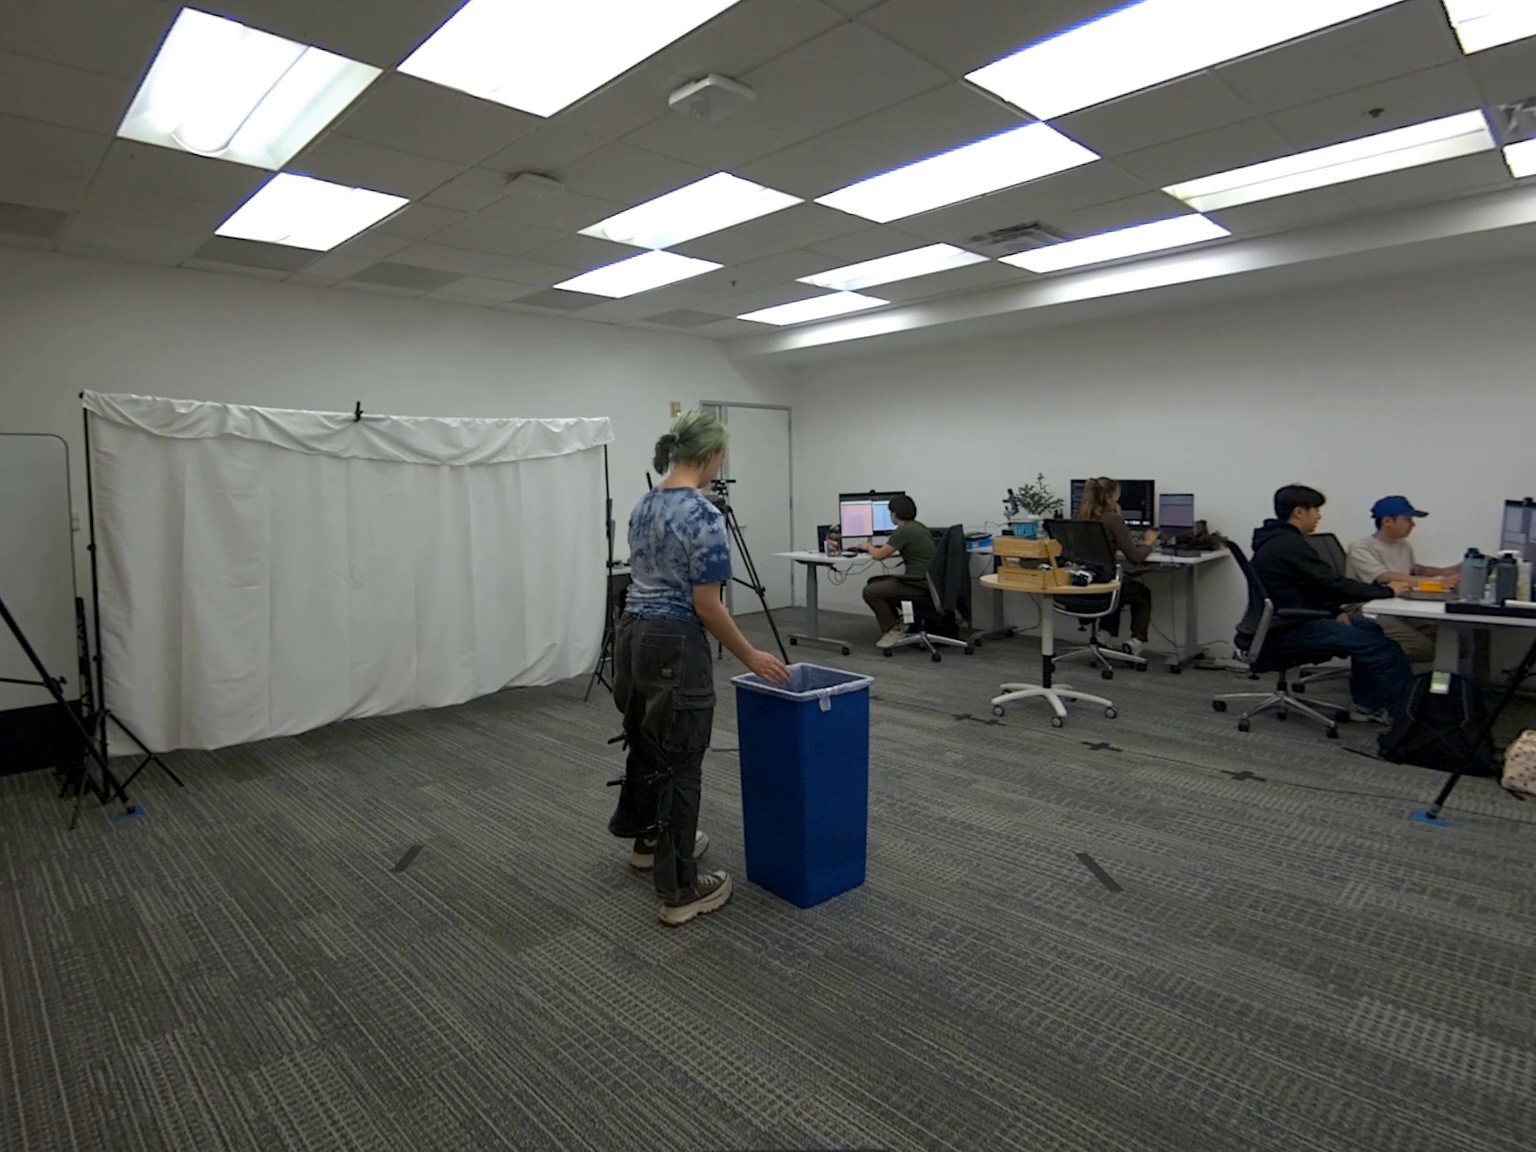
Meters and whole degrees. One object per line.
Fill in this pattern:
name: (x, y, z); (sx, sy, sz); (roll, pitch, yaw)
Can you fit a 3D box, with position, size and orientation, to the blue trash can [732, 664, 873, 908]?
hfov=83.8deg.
blue trash can: (0.121, 0.702, 2.960); (0.368, 0.711, 0.385); (-4, 5, -40)
